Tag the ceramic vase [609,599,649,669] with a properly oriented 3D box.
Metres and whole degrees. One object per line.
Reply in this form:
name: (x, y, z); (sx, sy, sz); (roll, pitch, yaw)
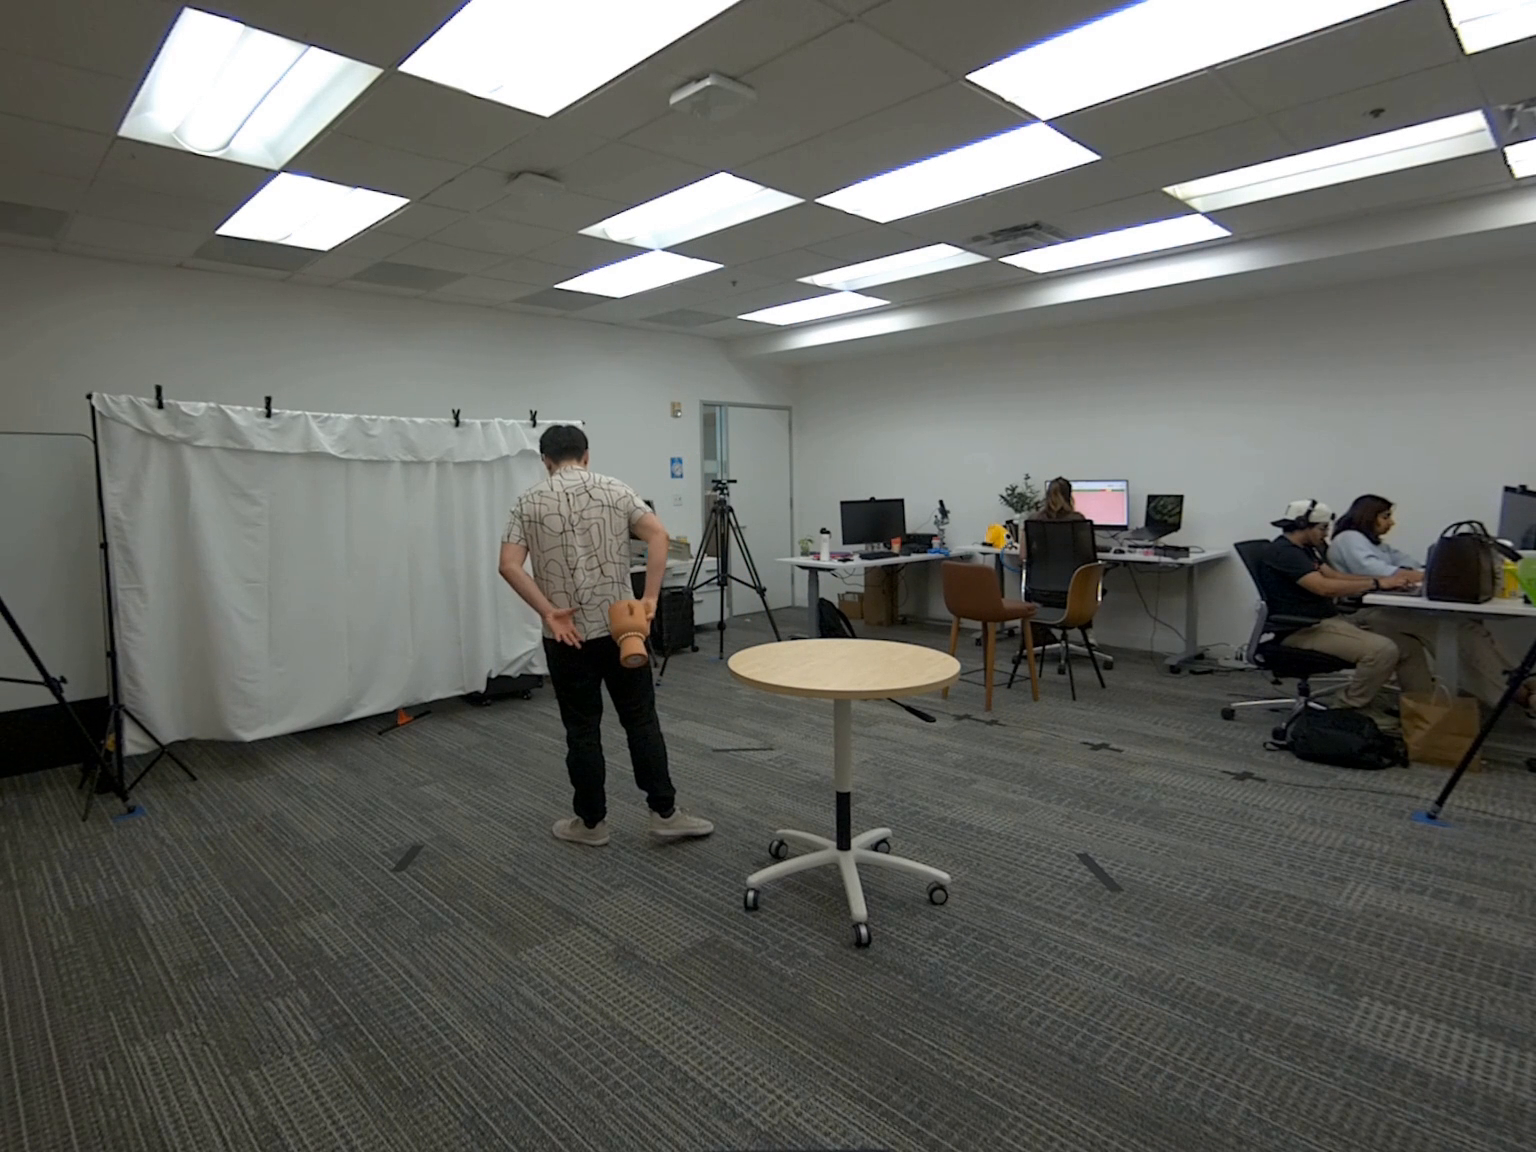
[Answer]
ceramic vase: (-0.491, 0.210, 3.050); (0.135, 0.227, 0.153); (-27, -37, 12)
